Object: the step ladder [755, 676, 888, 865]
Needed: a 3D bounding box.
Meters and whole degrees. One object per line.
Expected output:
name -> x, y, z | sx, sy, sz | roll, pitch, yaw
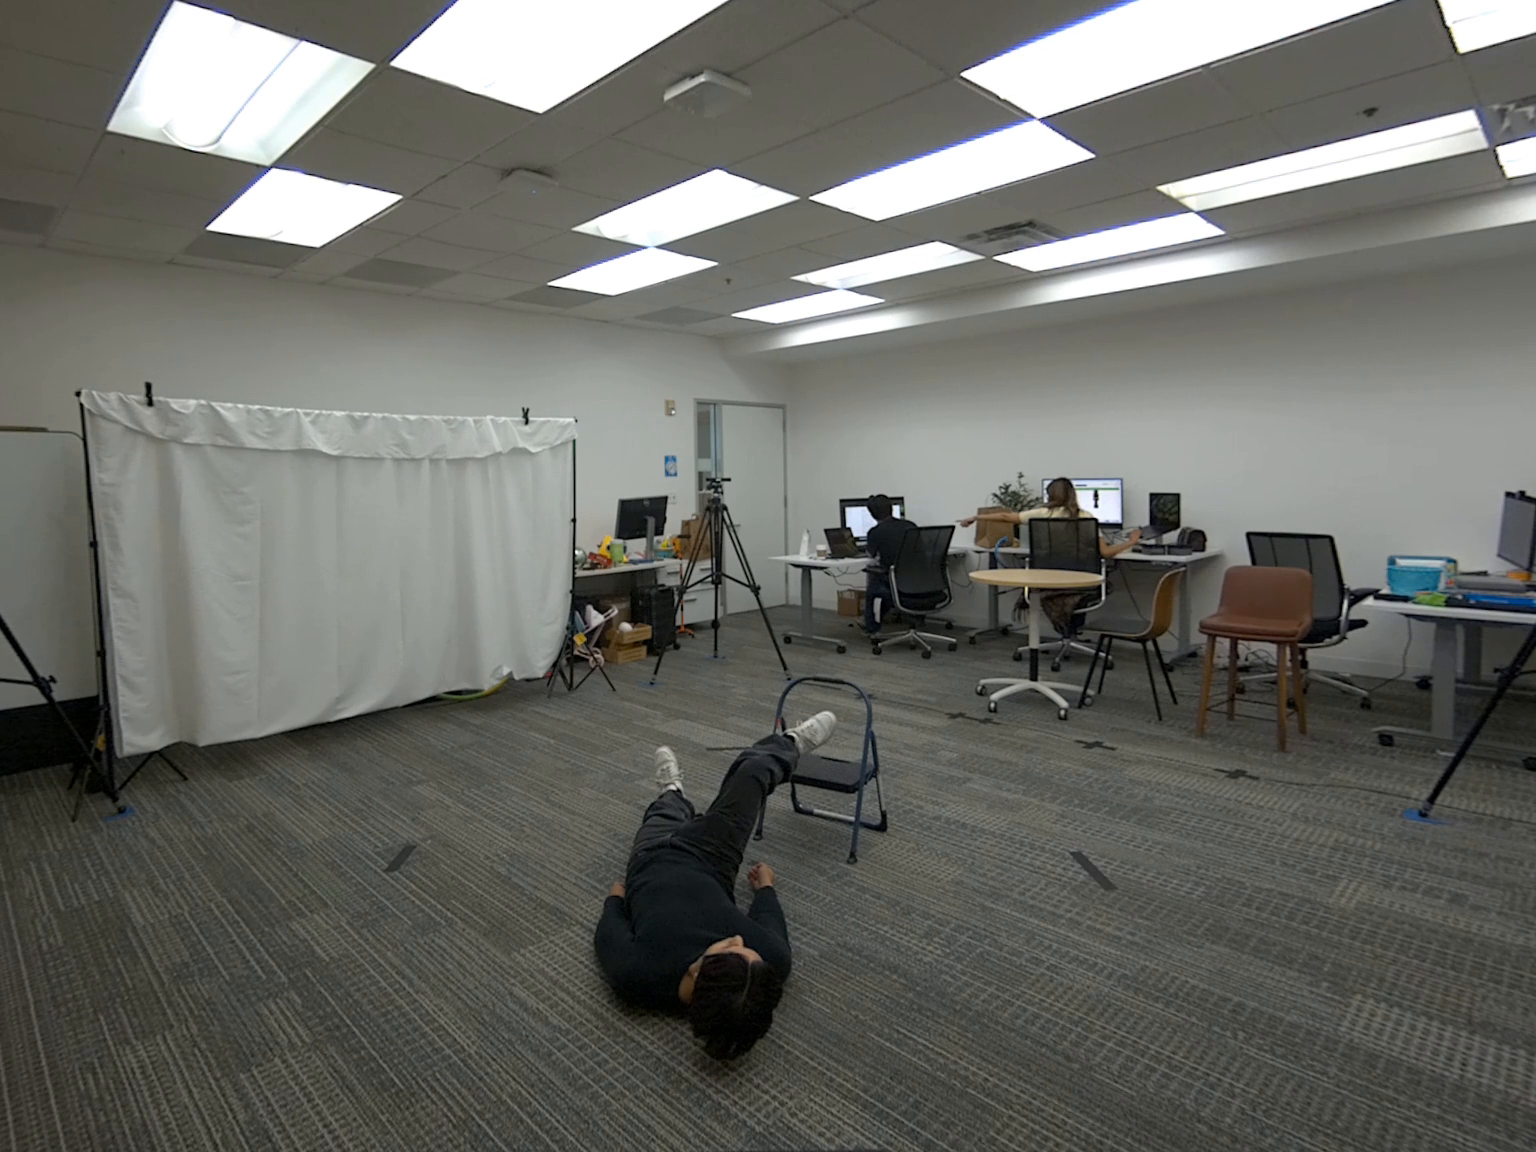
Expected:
step ladder -> 0.210, 0.709, 3.322 | 0.442, 0.604, 0.341 | 2, 5, 32
